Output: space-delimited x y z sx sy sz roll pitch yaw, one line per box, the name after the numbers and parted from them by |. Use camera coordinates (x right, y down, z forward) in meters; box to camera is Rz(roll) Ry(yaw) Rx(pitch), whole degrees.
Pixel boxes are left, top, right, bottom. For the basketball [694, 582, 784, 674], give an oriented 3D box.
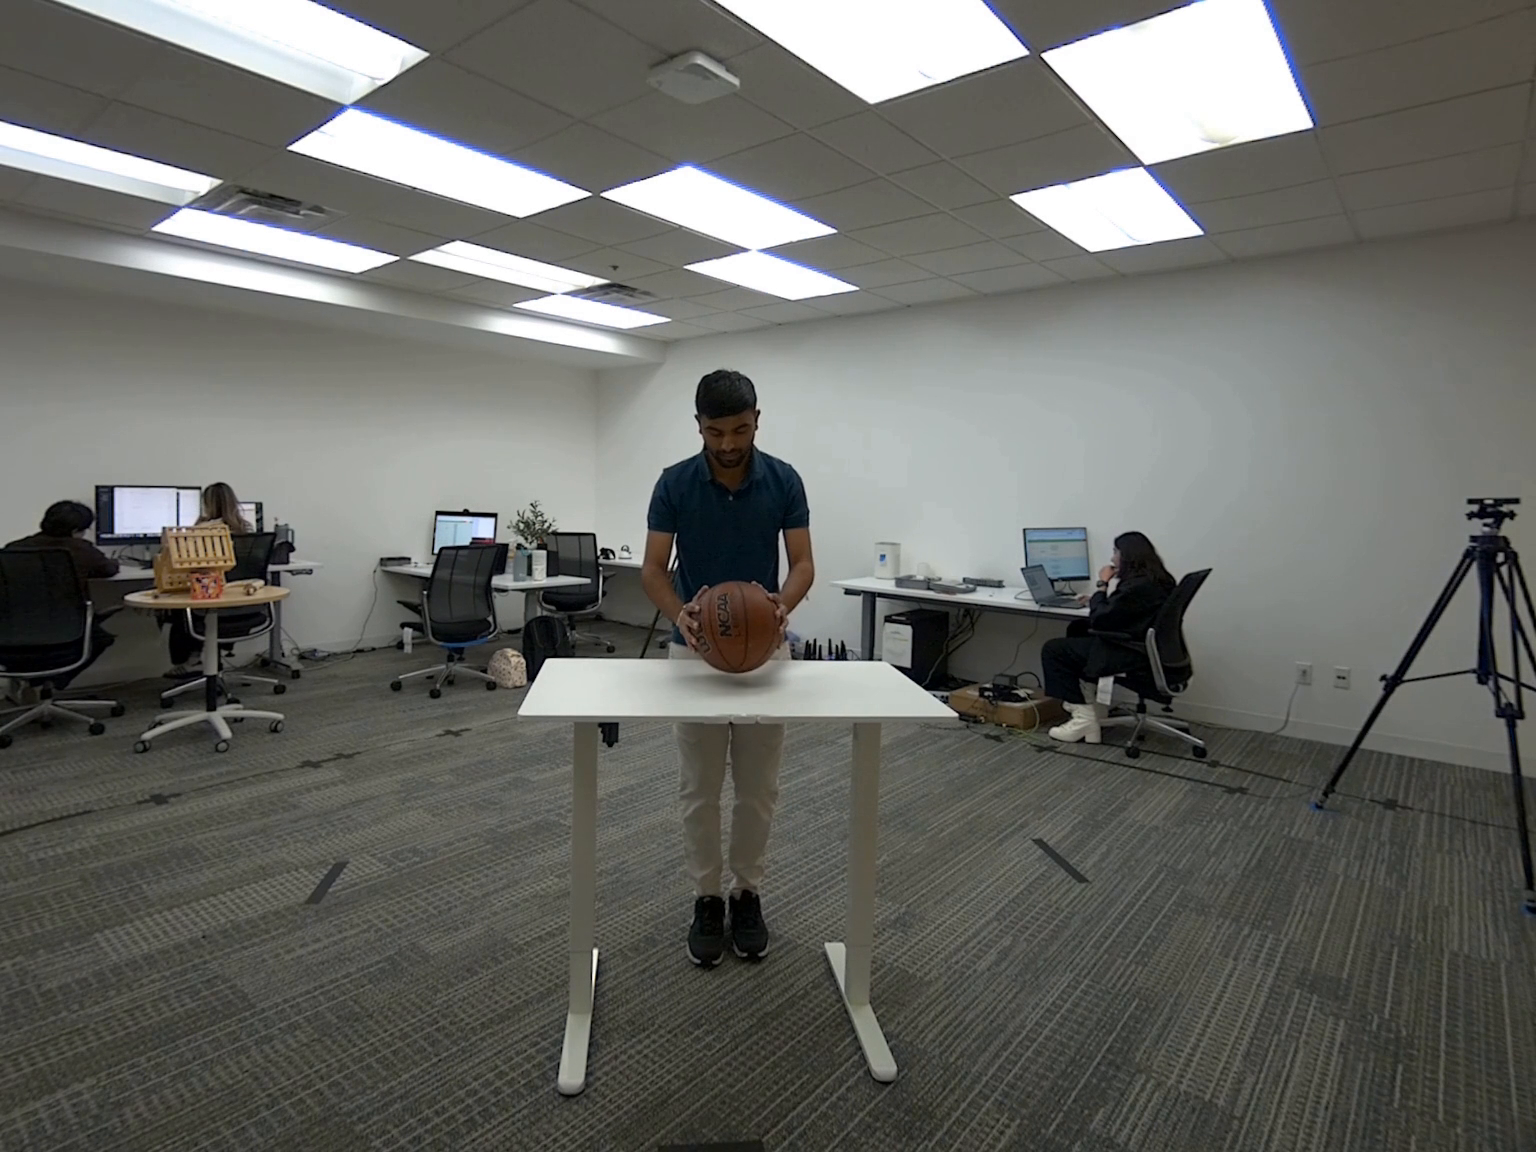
-0.086 0.125 2.215 0.235 0.235 0.237 1 4 -2 | basketball
